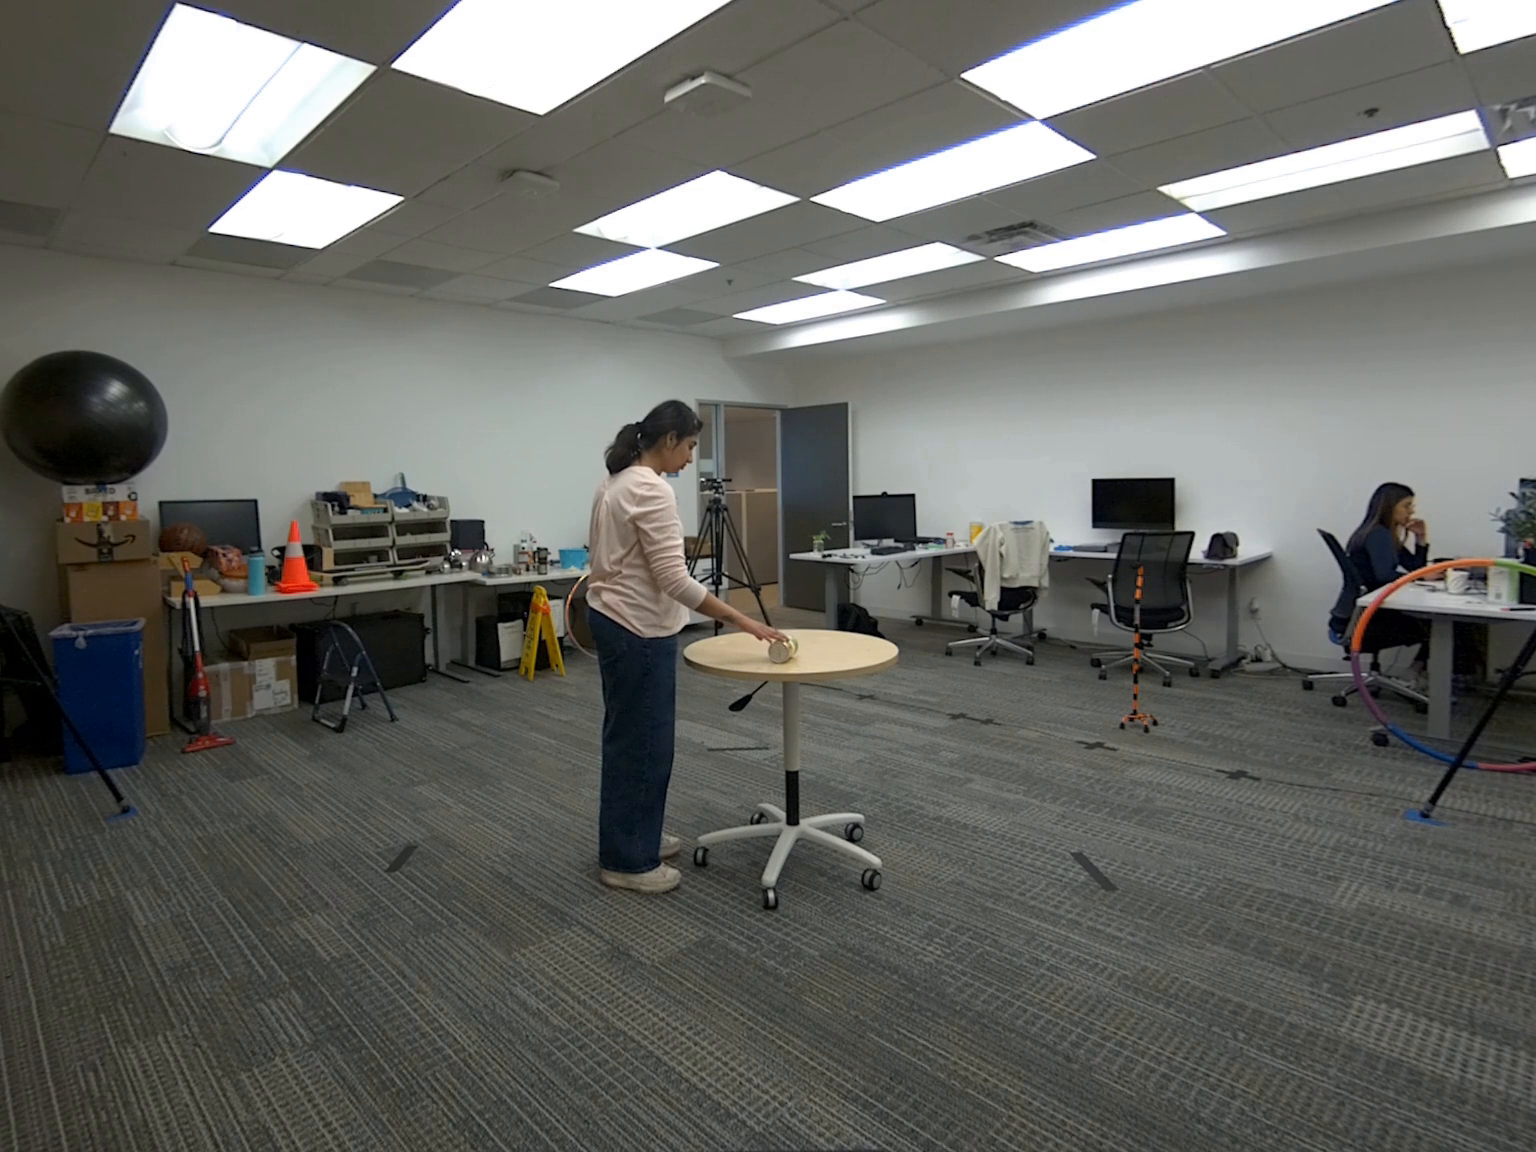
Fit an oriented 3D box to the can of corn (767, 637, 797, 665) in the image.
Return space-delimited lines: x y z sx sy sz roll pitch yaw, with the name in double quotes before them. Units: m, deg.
"can of corn" 0.049 0.242 2.883 0.075 0.074 0.110 0 5 13
